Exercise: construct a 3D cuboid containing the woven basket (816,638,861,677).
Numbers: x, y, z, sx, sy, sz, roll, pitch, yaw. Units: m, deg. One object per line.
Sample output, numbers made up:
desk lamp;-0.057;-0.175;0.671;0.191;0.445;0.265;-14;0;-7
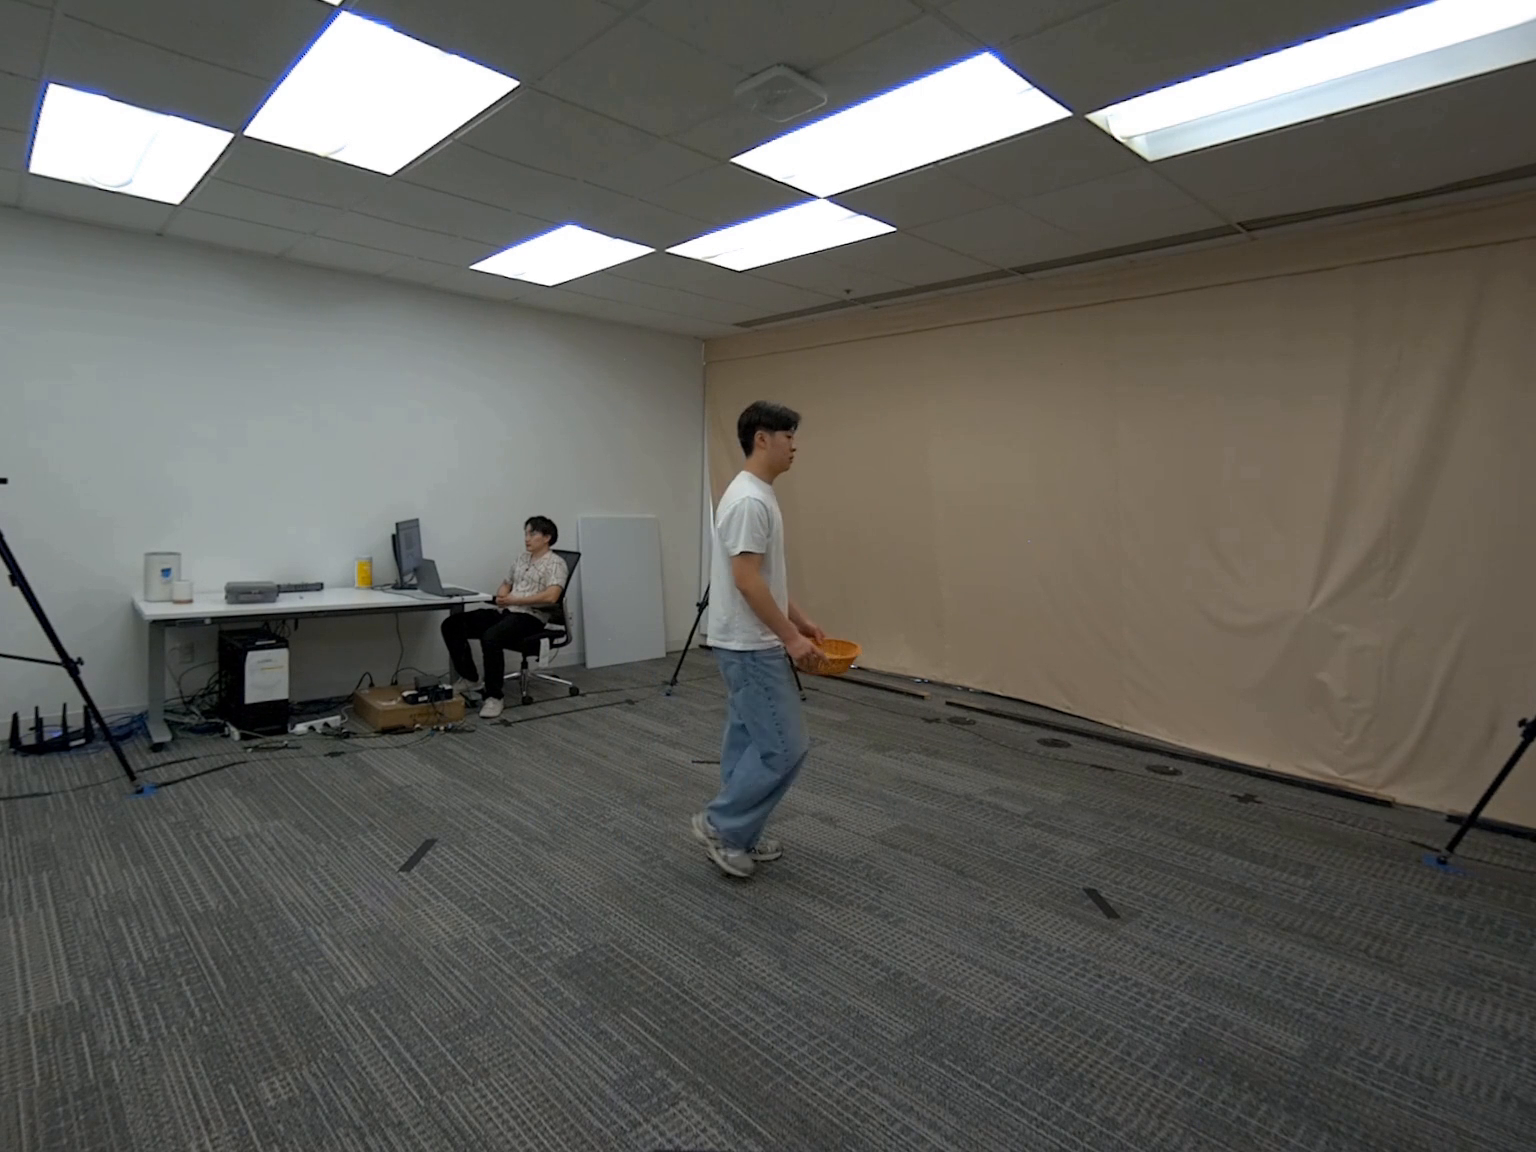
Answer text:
woven basket;0.190;0.296;3.063;0.256;0.073;0.347;5;7;15
